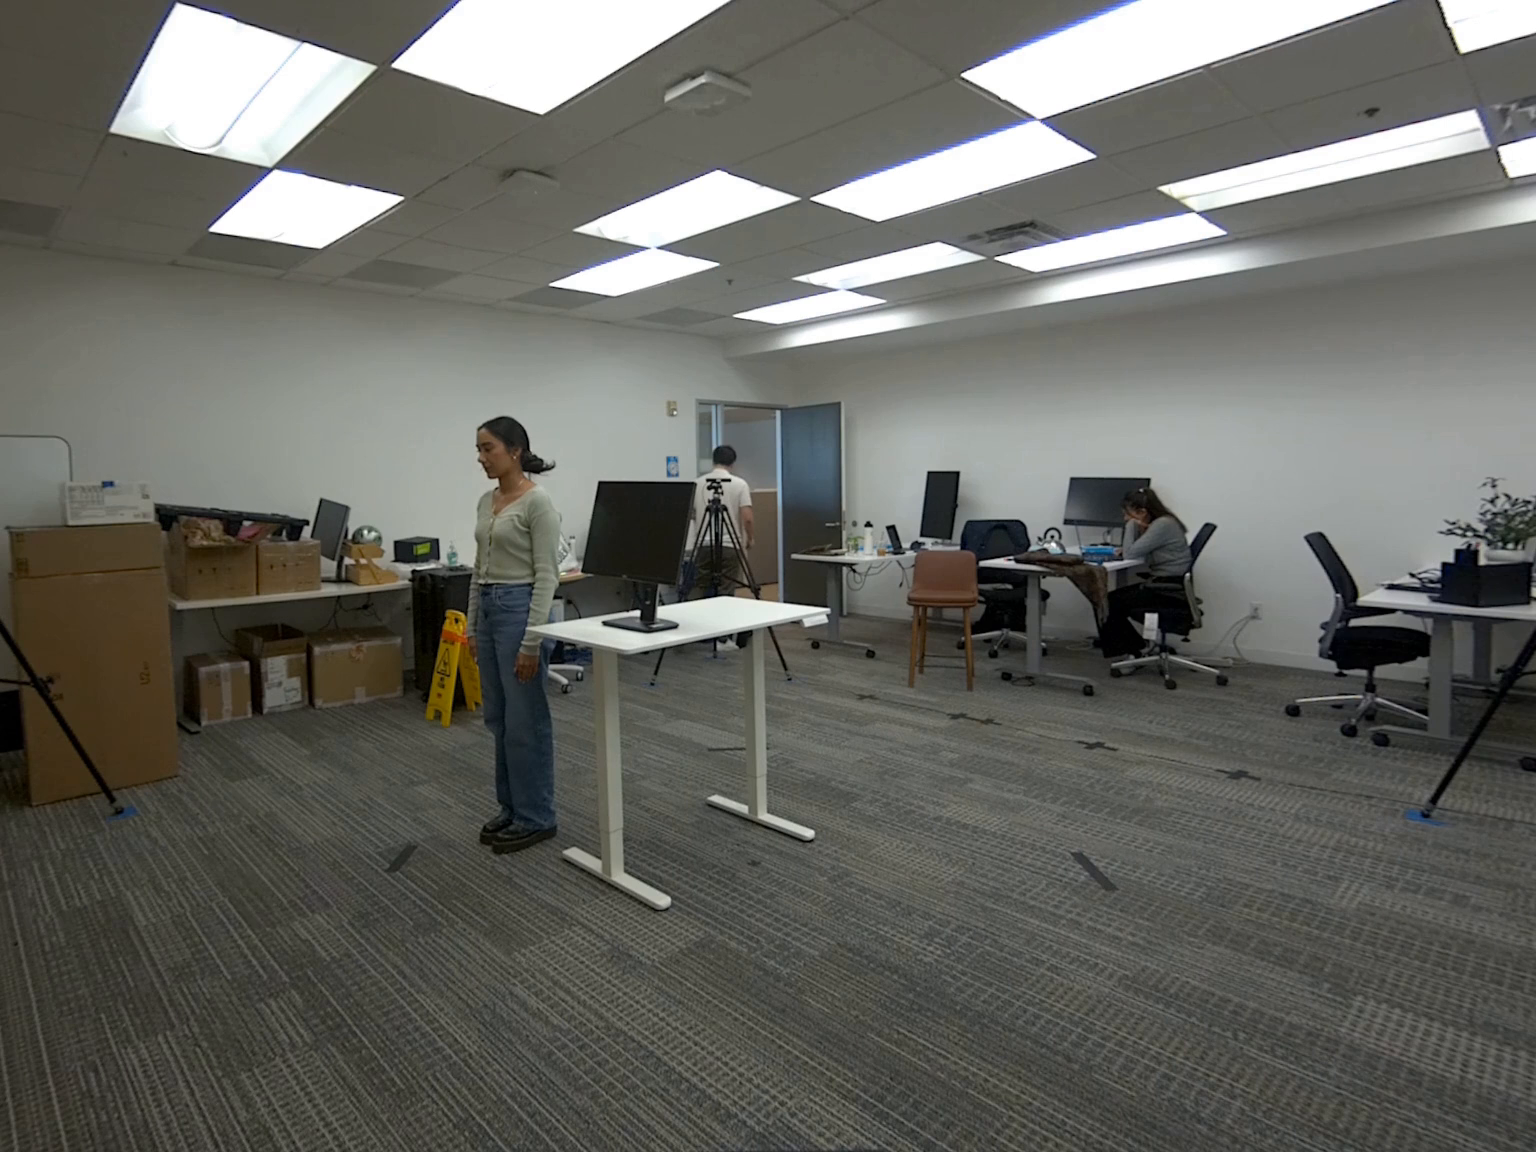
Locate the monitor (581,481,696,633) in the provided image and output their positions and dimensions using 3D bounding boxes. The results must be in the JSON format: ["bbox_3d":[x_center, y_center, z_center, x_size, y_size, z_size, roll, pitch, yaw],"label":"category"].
[{"bbox_3d":[-0.436,-0.072,3.032,0.556,0.521,0.182,5,4,43],"label":"monitor"}]
